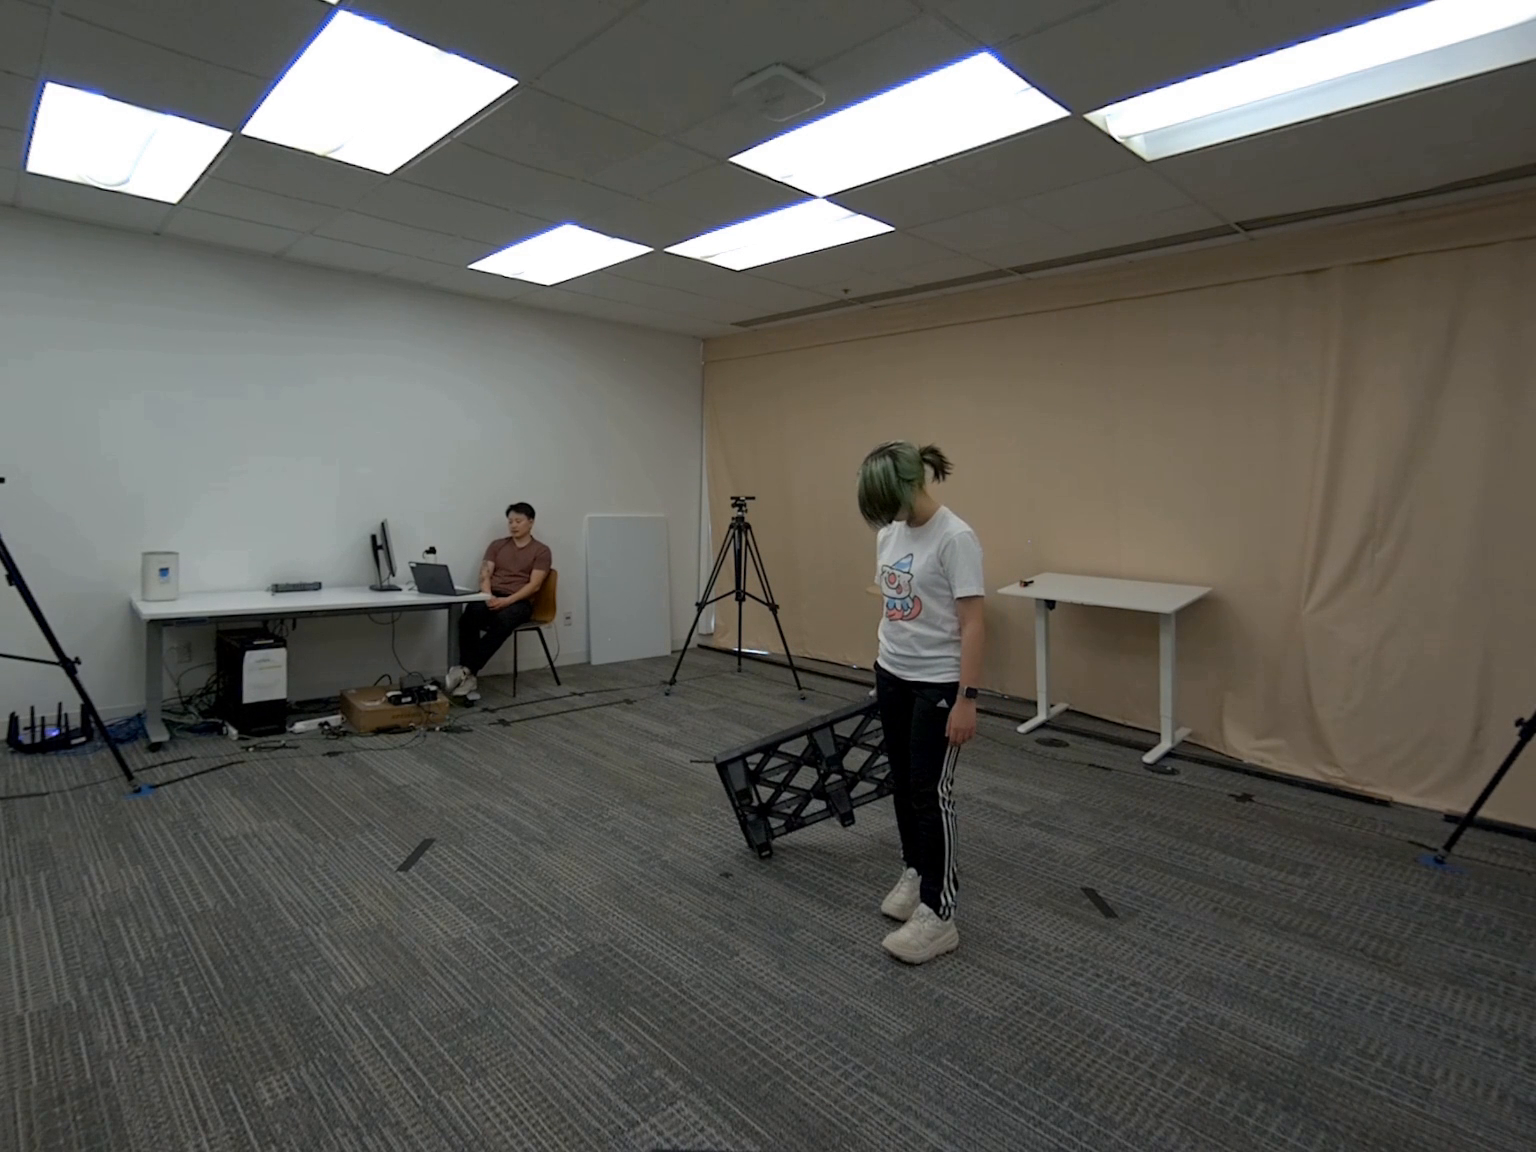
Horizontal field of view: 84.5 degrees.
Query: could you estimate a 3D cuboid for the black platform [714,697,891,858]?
[{"bbox_3d":[0.244,0.762,3.164,0.804,0.588,0.147,-19,40,-3],"label":"black platform"}]
